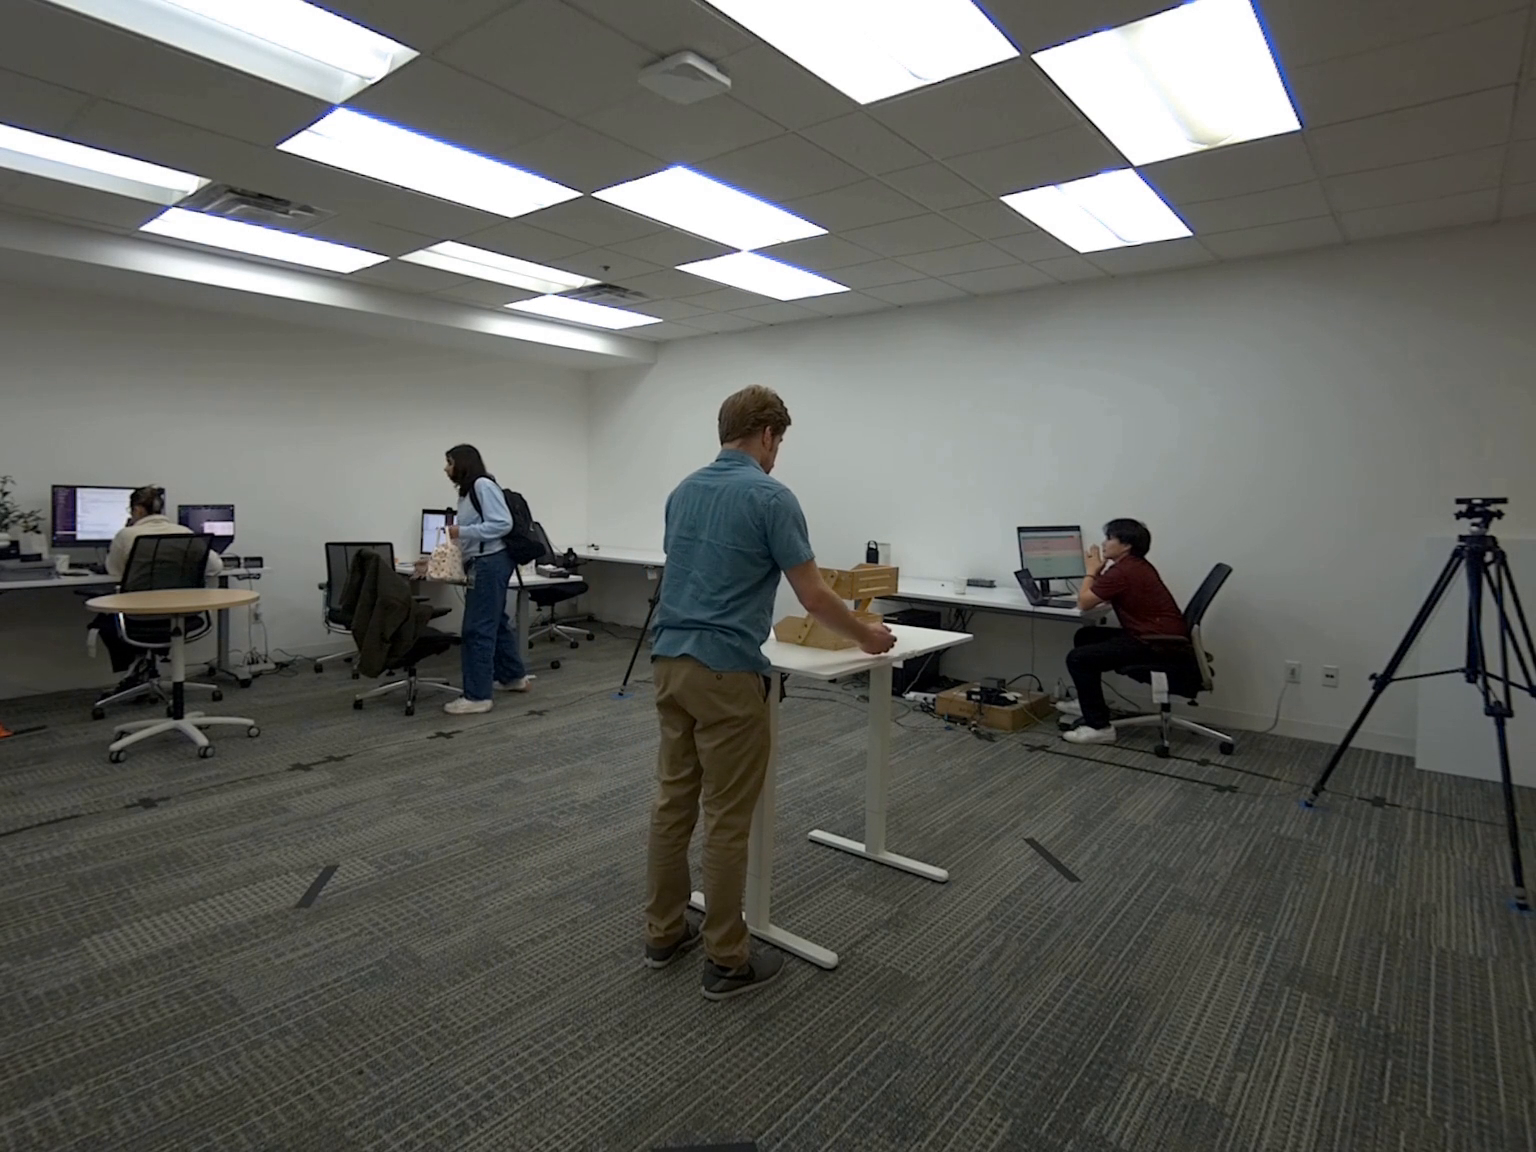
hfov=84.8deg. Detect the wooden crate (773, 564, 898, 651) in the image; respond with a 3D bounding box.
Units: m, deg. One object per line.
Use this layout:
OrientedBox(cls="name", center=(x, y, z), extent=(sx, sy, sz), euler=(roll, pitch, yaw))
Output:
OrientedBox(cls="wooden crate", center=(0.221, 0.087, 2.873), extent=(0.312, 0.272, 0.315), euler=(6, 6, 38))
